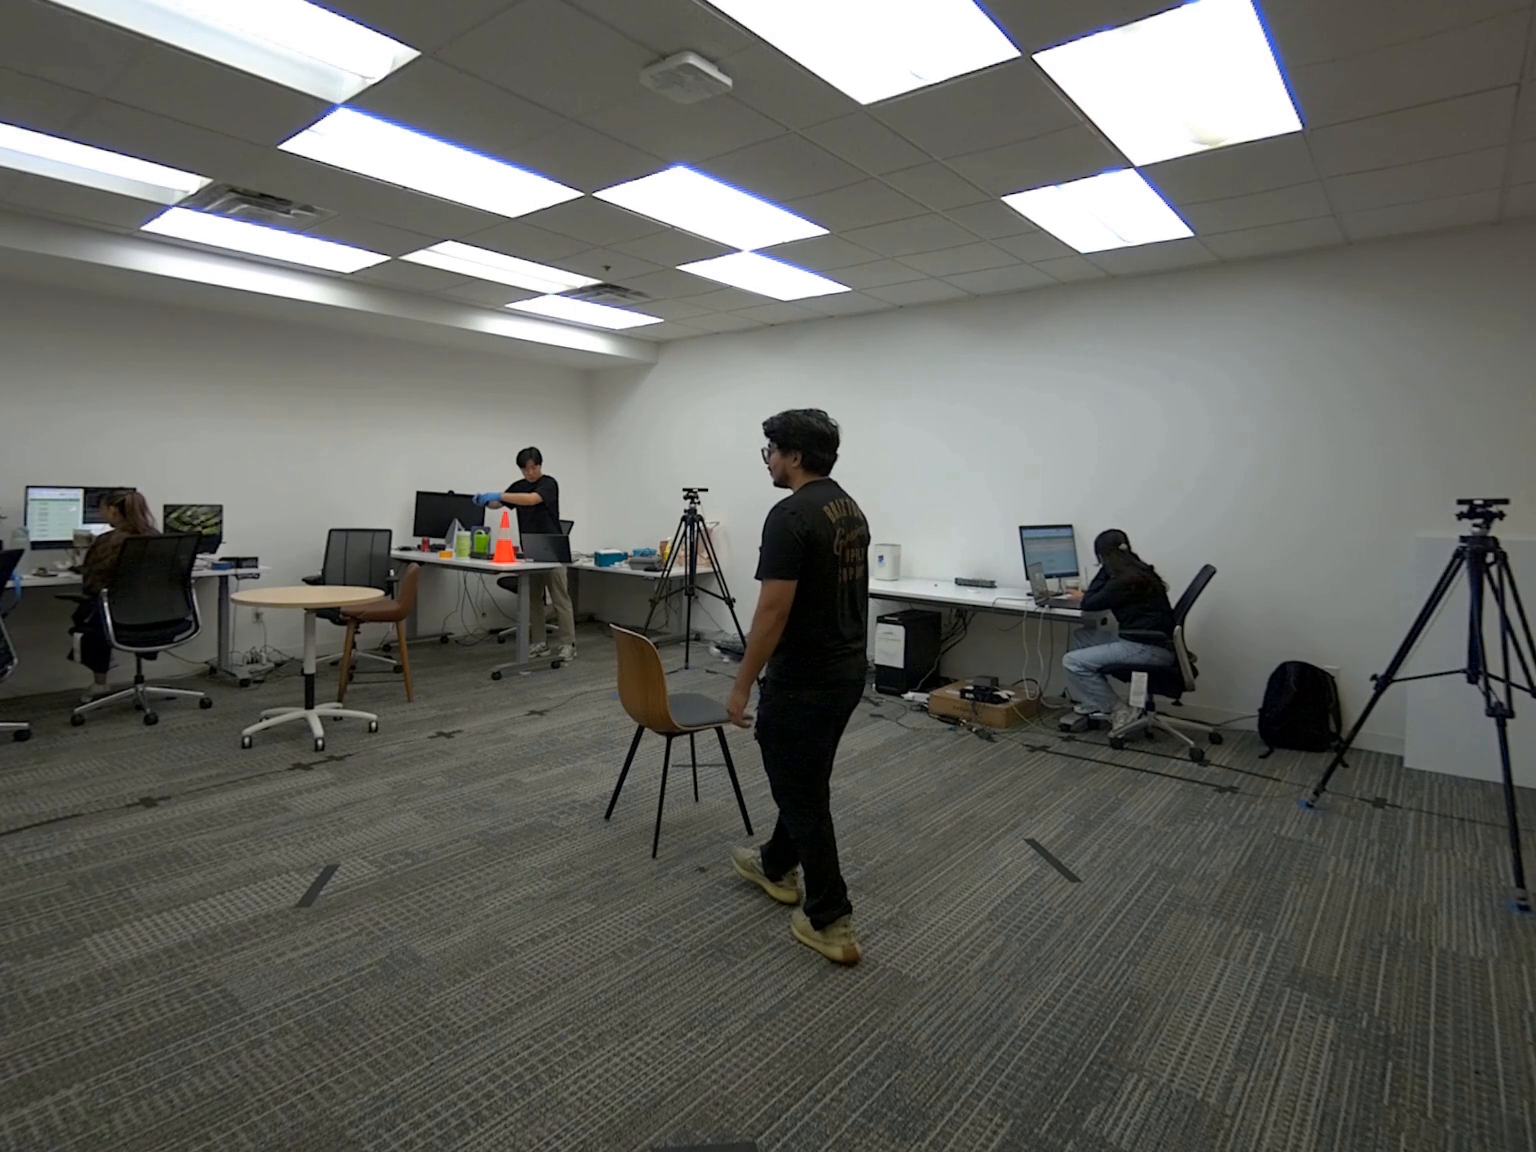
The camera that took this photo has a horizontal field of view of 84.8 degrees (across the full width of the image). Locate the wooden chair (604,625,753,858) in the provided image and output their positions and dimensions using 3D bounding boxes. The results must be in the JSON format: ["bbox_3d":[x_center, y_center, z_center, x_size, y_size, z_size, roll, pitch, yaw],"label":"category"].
[{"bbox_3d":[-0.371,0.605,3.474,0.509,0.873,0.493,-6,6,-33],"label":"wooden chair"}]
